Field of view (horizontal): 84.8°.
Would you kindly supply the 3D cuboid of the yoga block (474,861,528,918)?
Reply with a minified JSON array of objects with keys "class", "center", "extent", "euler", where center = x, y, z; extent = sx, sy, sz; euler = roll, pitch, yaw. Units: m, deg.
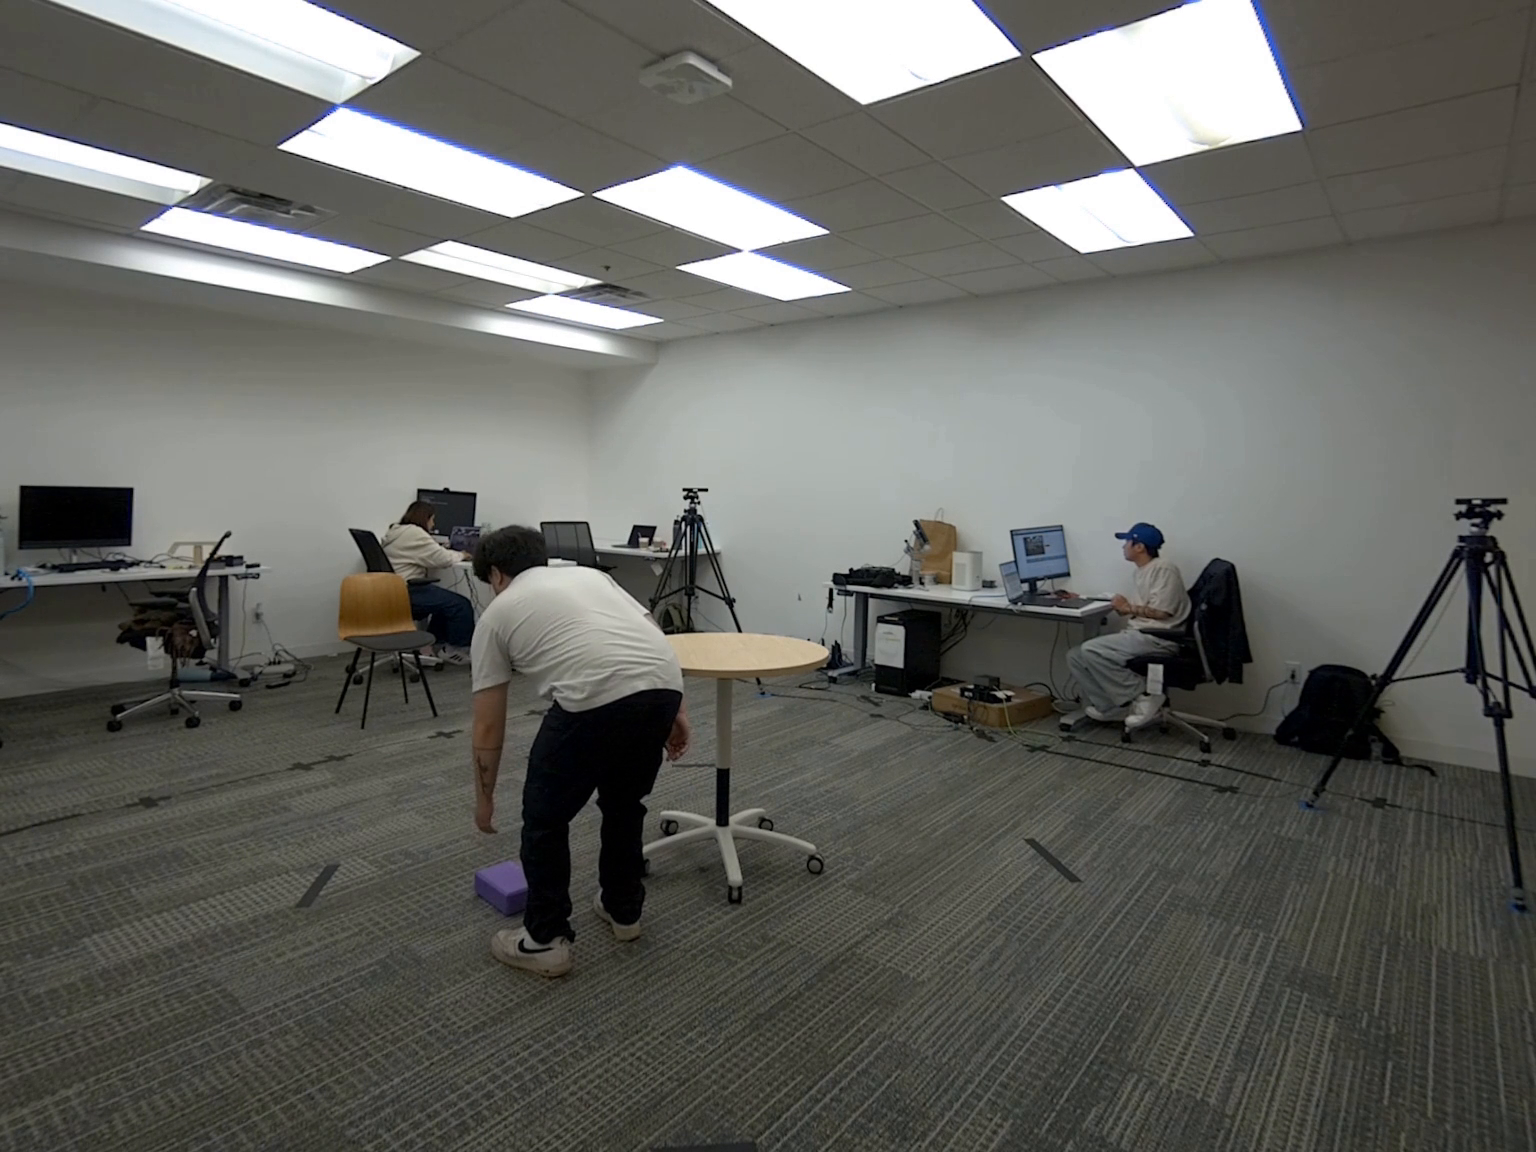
[{"class":"yoga block","center":[-0.878,1.042,2.859],"extent":[0.237,0.076,0.144],"euler":[5,7,44]}]
